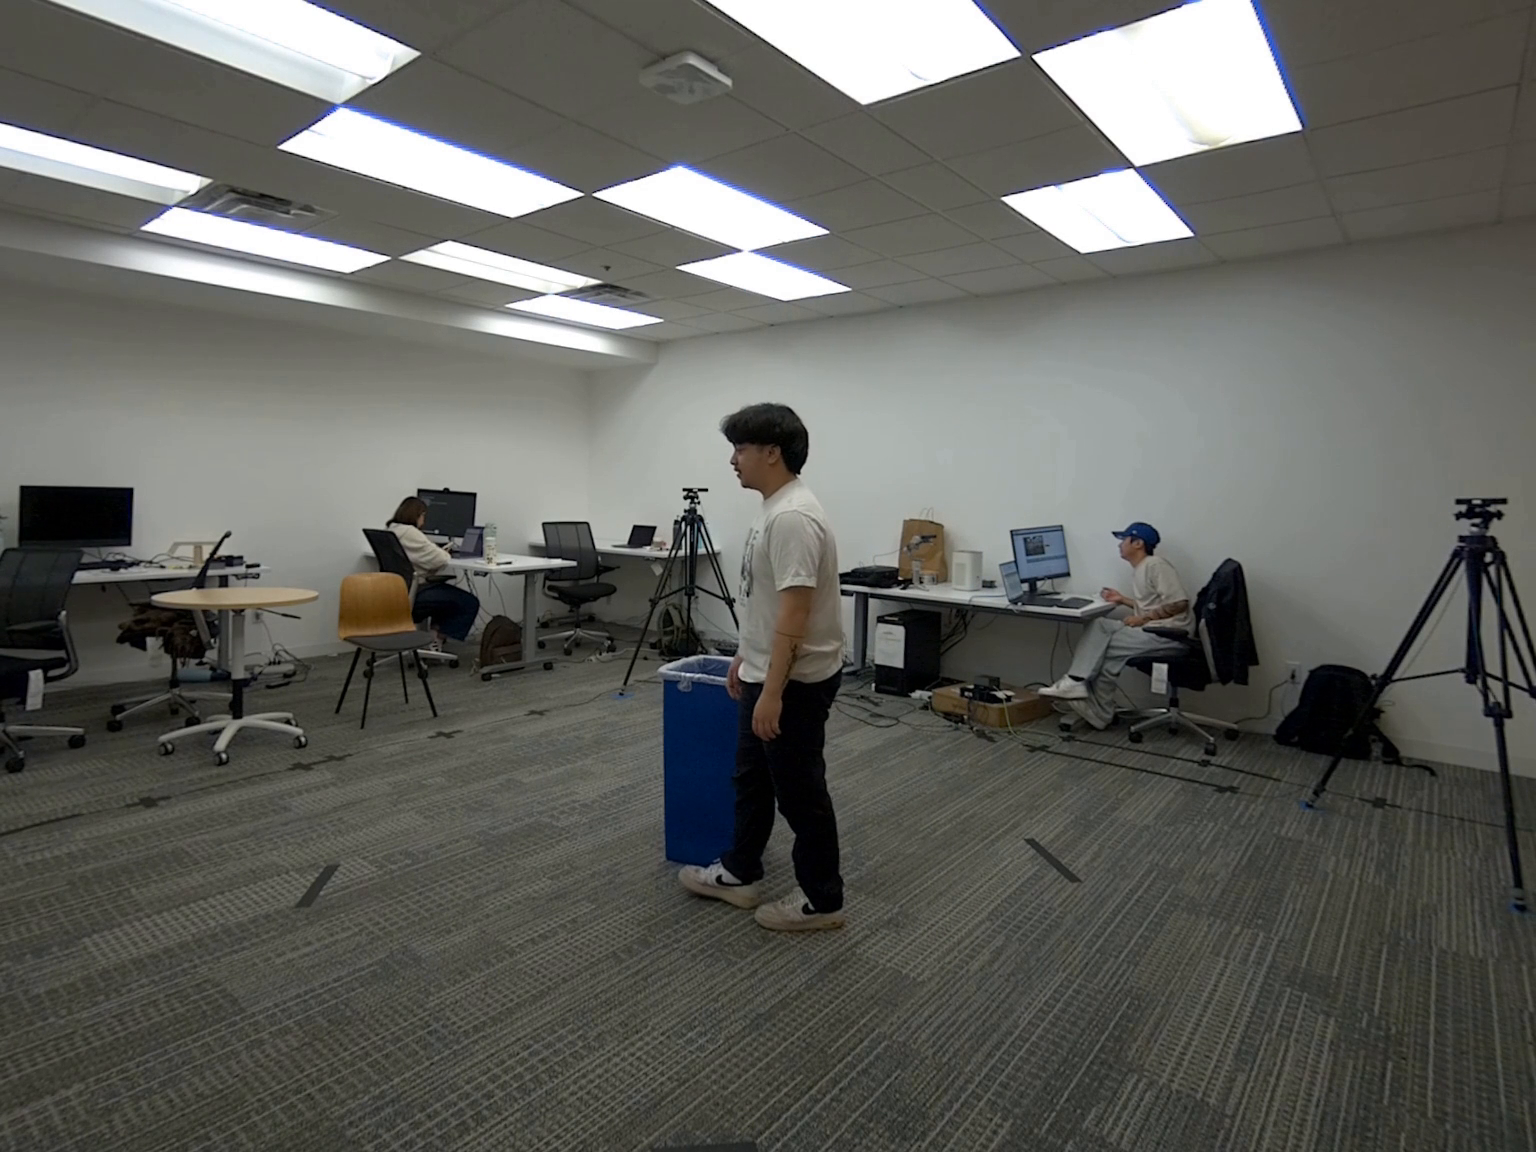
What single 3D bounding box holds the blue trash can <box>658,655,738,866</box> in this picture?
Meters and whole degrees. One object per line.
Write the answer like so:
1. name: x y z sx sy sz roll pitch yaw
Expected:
1. blue trash can: -0.202 0.697 3.255 0.387 0.711 0.366 3 4 23
